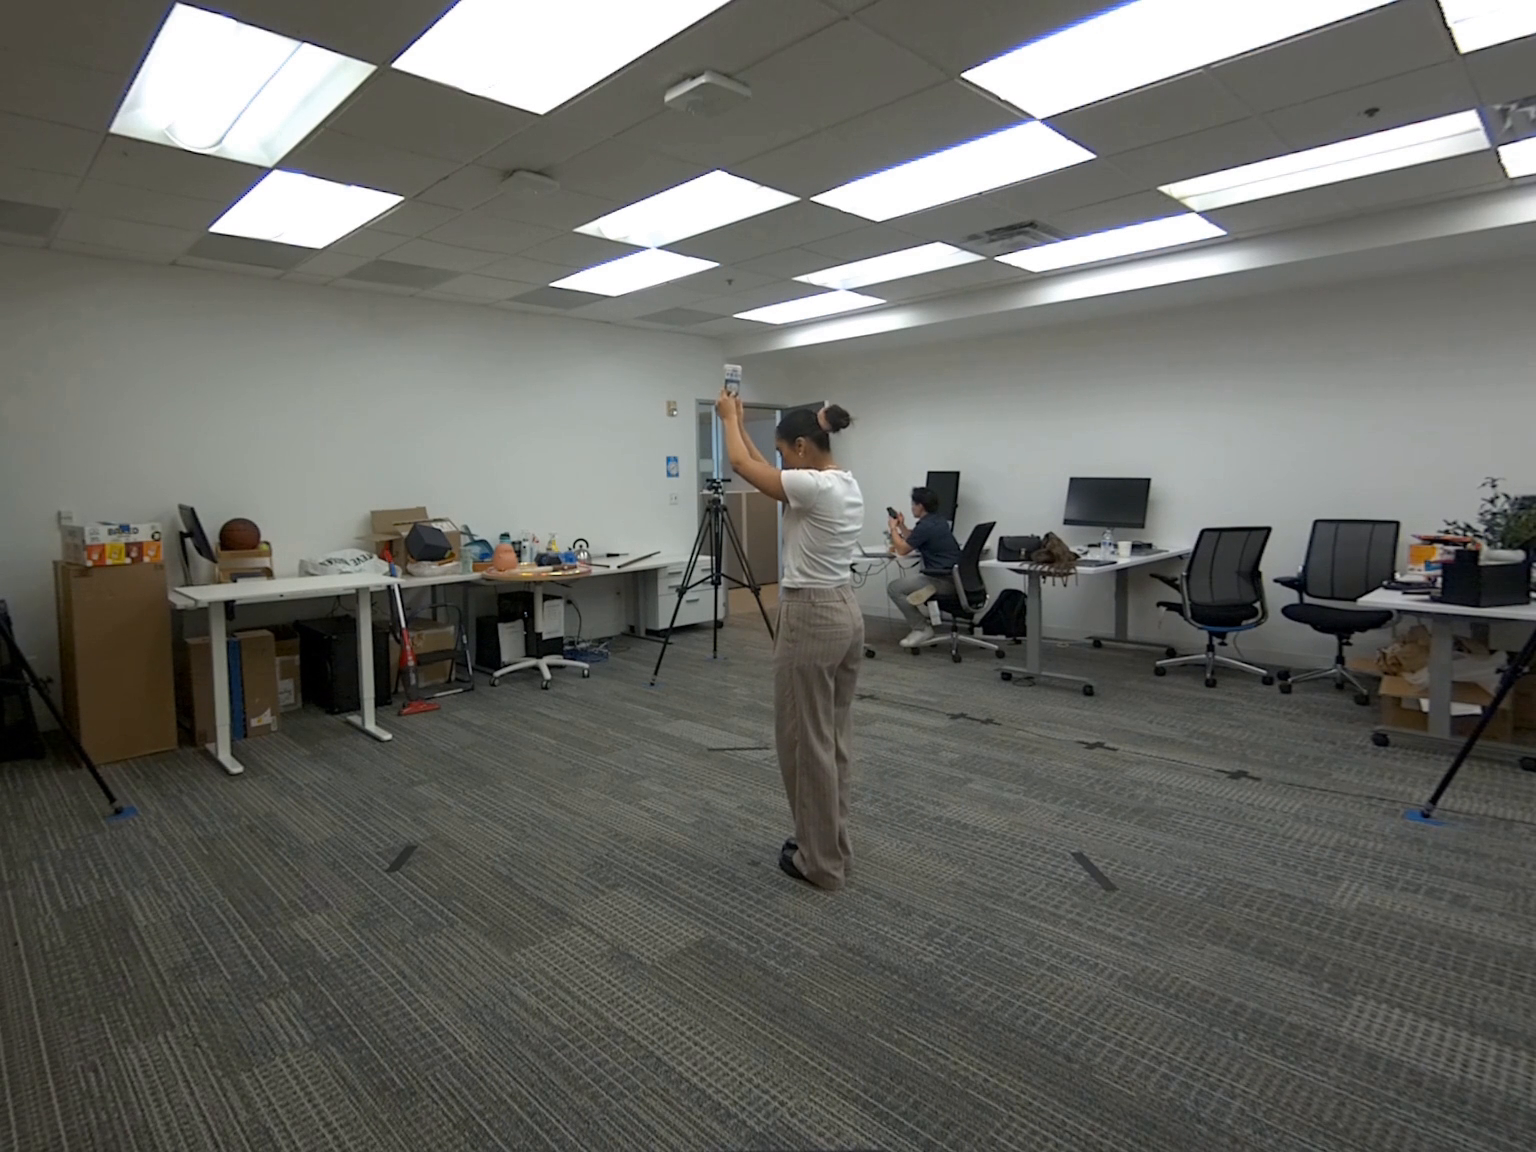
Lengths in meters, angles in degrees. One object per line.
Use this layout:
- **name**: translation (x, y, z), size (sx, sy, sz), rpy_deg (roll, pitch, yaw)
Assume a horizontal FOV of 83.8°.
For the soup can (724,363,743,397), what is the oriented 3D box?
- **soup can**: translation (-0.133, -0.725, 3.180), size (0.067, 0.121, 0.067), rpy_deg (5, 6, -2)
